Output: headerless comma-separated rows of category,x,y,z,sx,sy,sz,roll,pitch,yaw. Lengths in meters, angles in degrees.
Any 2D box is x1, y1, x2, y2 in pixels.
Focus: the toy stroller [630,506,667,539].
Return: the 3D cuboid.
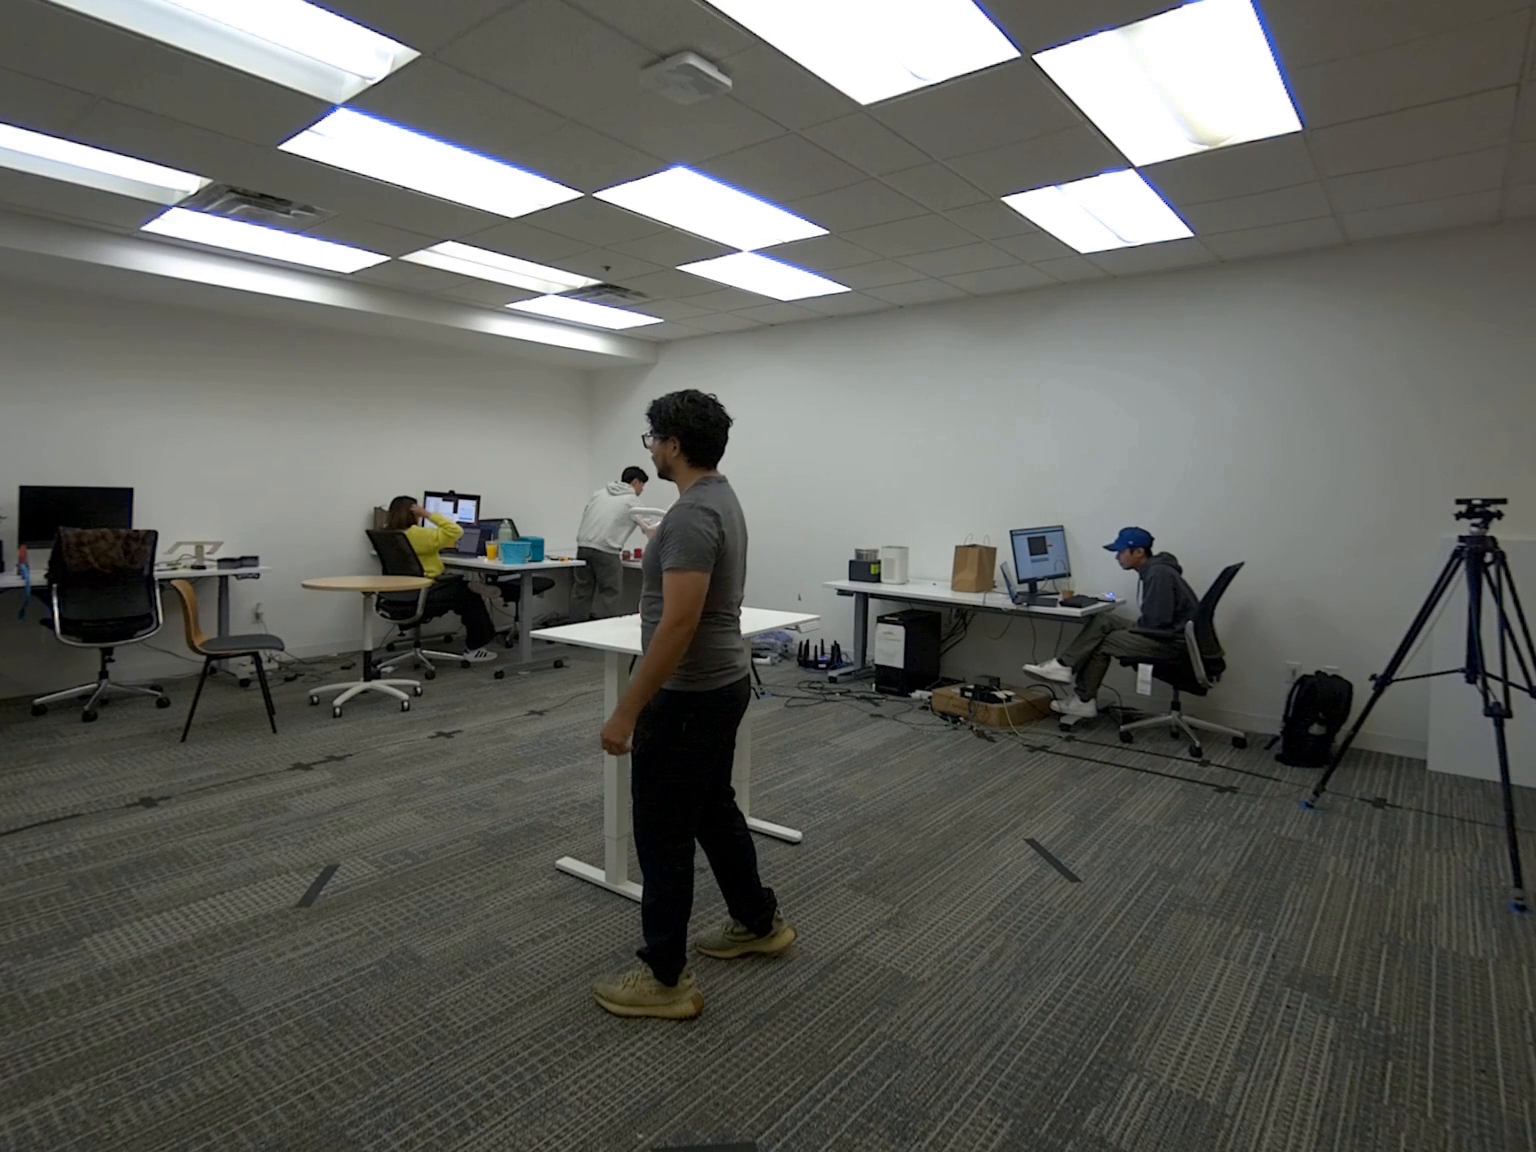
toy stroller,-0.313,-0.049,3.194,0.291,0.526,0.335,4,21,42
